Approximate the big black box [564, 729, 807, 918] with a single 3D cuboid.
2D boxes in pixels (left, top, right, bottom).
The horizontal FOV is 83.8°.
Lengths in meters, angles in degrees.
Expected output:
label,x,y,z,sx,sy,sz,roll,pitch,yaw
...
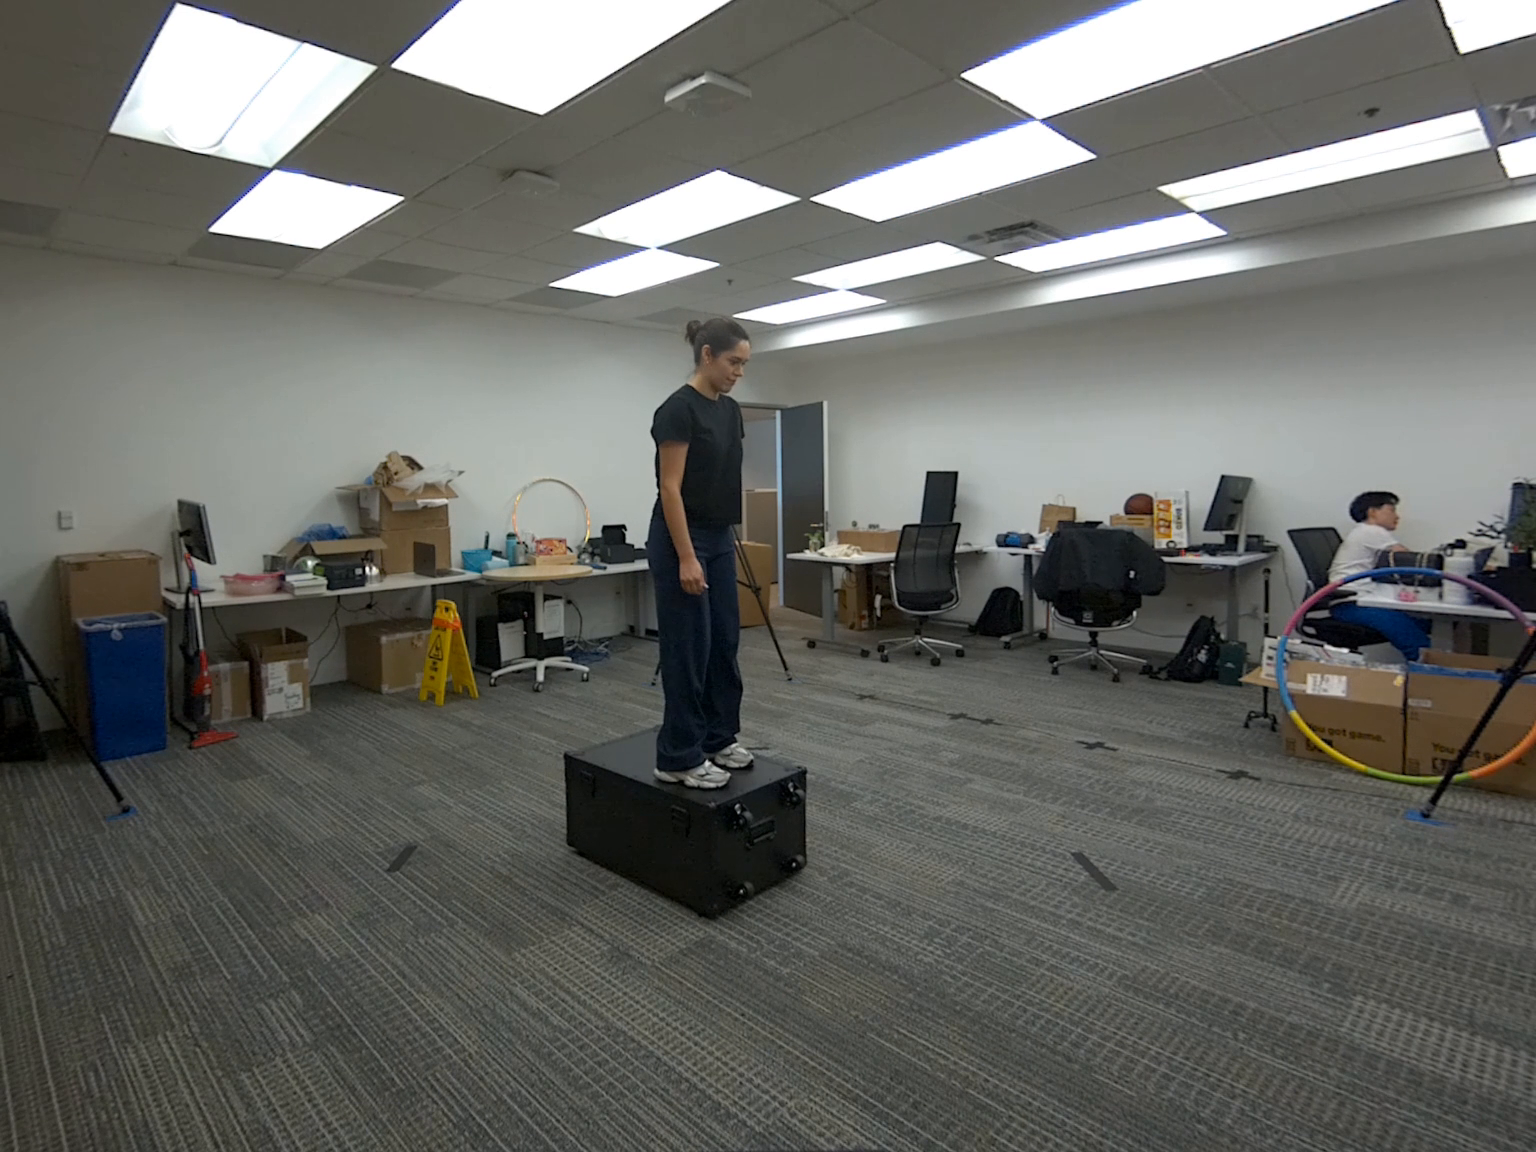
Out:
label,x,y,z,sx,sy,sz,roll,pitch,yaw
big black box,-0.292,0.858,3.108,0.888,0.394,0.508,4,7,42
